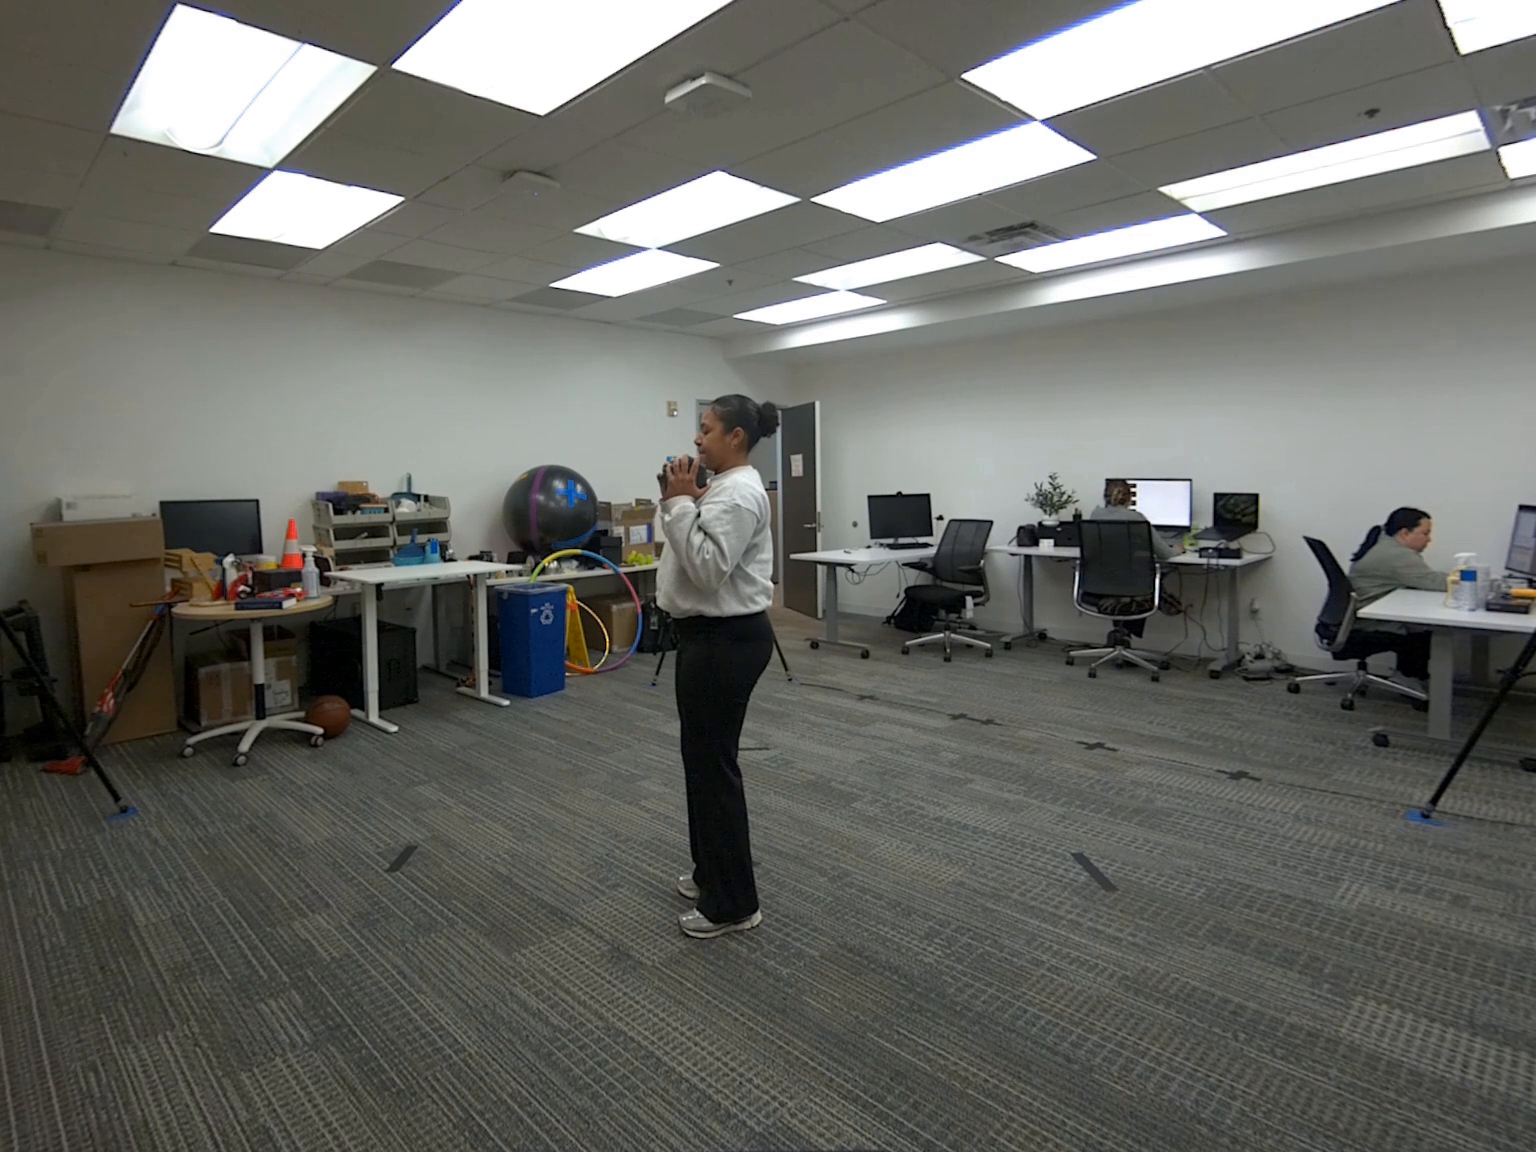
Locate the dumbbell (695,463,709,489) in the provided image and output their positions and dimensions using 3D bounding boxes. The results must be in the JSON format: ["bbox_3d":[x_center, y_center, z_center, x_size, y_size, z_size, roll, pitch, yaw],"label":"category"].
[{"bbox_3d":[-0.251,-0.313,2.691,0.122,0.107,0.297,-32,10,-7],"label":"dumbbell"}]
